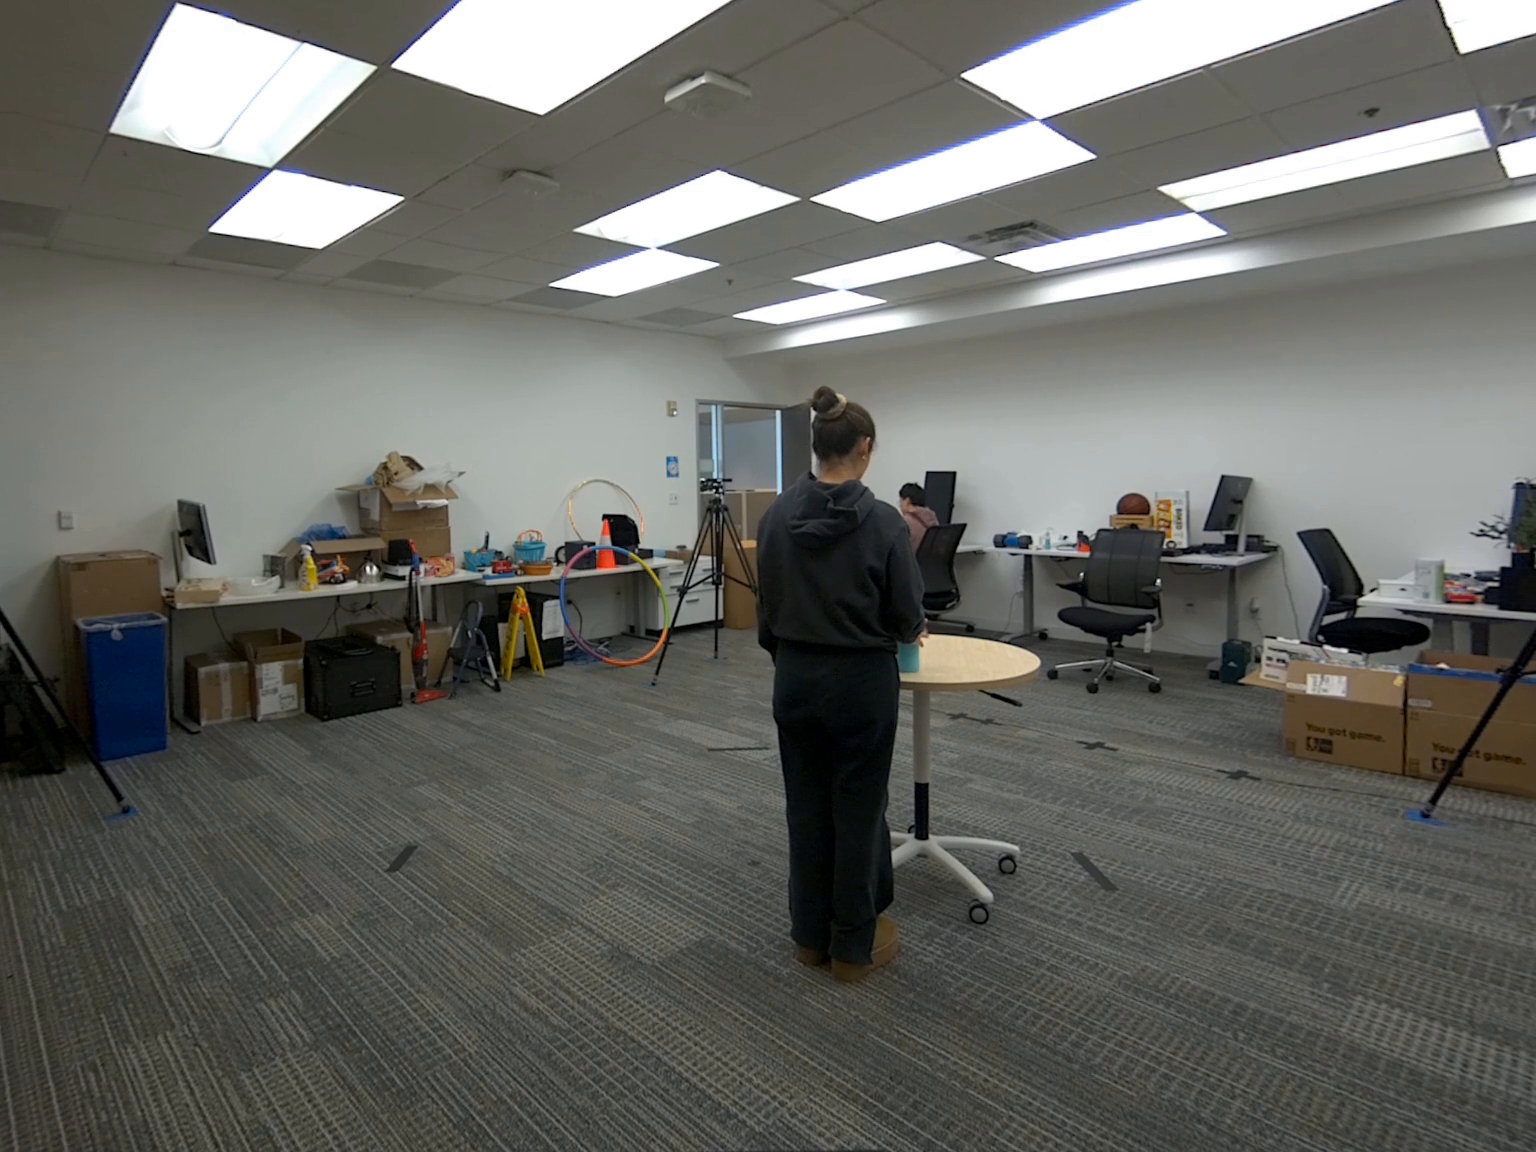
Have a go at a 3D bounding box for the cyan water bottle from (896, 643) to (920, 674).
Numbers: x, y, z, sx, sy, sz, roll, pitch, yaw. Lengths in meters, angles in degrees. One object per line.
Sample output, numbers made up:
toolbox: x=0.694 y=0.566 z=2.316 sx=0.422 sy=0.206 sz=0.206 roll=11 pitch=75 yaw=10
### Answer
cyan water bottle: x=0.444 y=0.161 z=2.693 sx=0.092 sy=0.282 sz=0.093 roll=-1 pitch=6 yaw=-2
